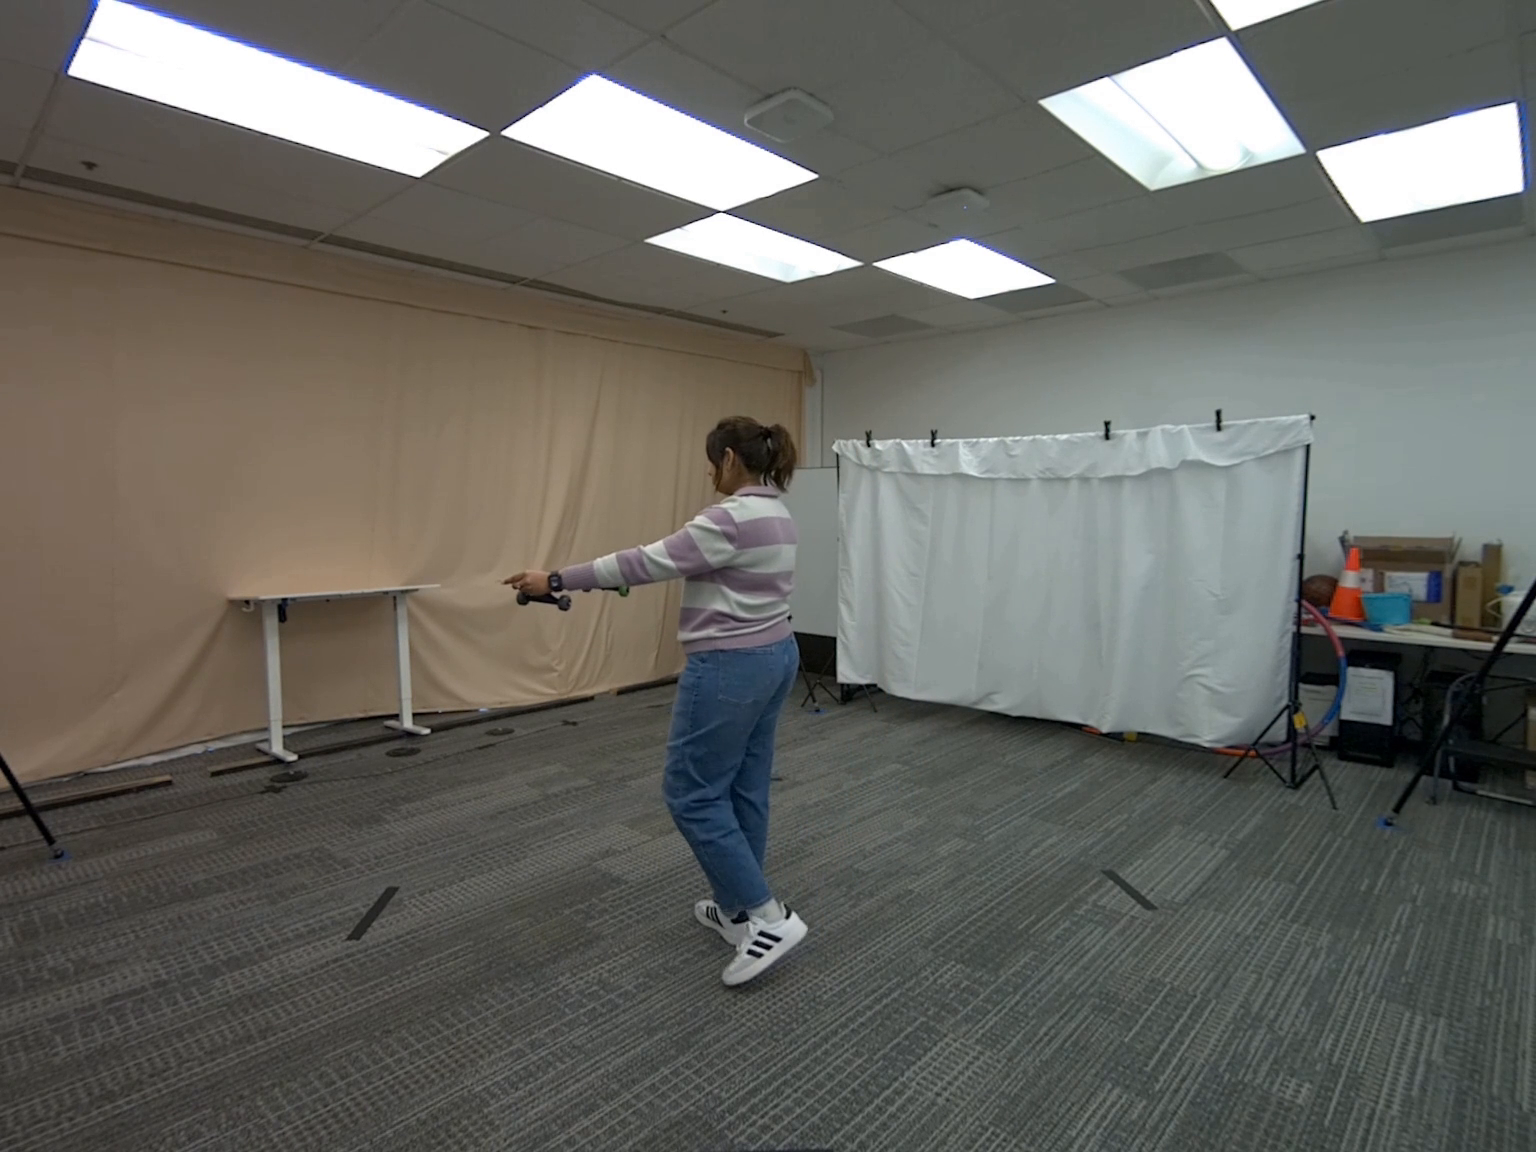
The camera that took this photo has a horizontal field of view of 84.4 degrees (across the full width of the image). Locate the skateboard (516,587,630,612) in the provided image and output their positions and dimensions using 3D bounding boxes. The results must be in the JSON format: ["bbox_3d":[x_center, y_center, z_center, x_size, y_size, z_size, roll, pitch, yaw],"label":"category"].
[{"bbox_3d":[-0.621,0.030,2.841,0.198,0.110,0.768,9,9,22],"label":"skateboard"}]
